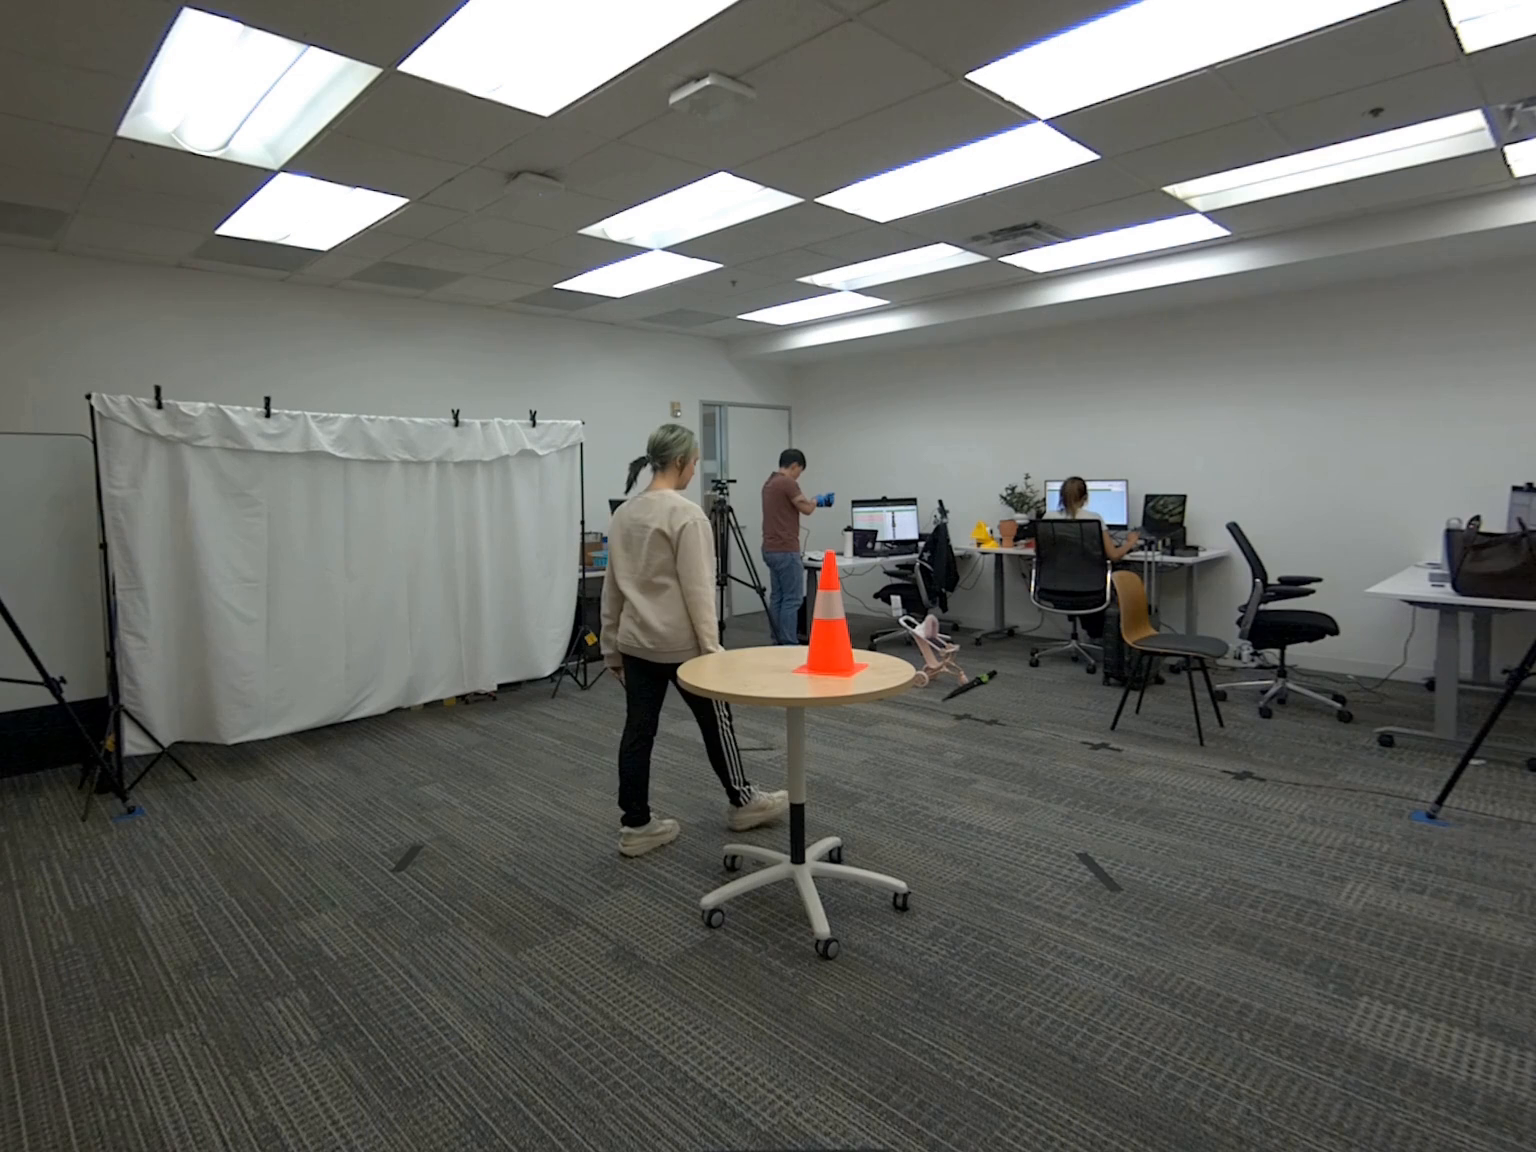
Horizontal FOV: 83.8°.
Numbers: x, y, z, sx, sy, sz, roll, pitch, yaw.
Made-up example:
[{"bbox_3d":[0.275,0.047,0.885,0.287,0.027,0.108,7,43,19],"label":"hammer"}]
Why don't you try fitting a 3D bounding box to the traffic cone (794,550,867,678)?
[{"bbox_3d":[0.197,0.112,2.744,0.208,0.383,0.200,0,3,29],"label":"traffic cone"}]
